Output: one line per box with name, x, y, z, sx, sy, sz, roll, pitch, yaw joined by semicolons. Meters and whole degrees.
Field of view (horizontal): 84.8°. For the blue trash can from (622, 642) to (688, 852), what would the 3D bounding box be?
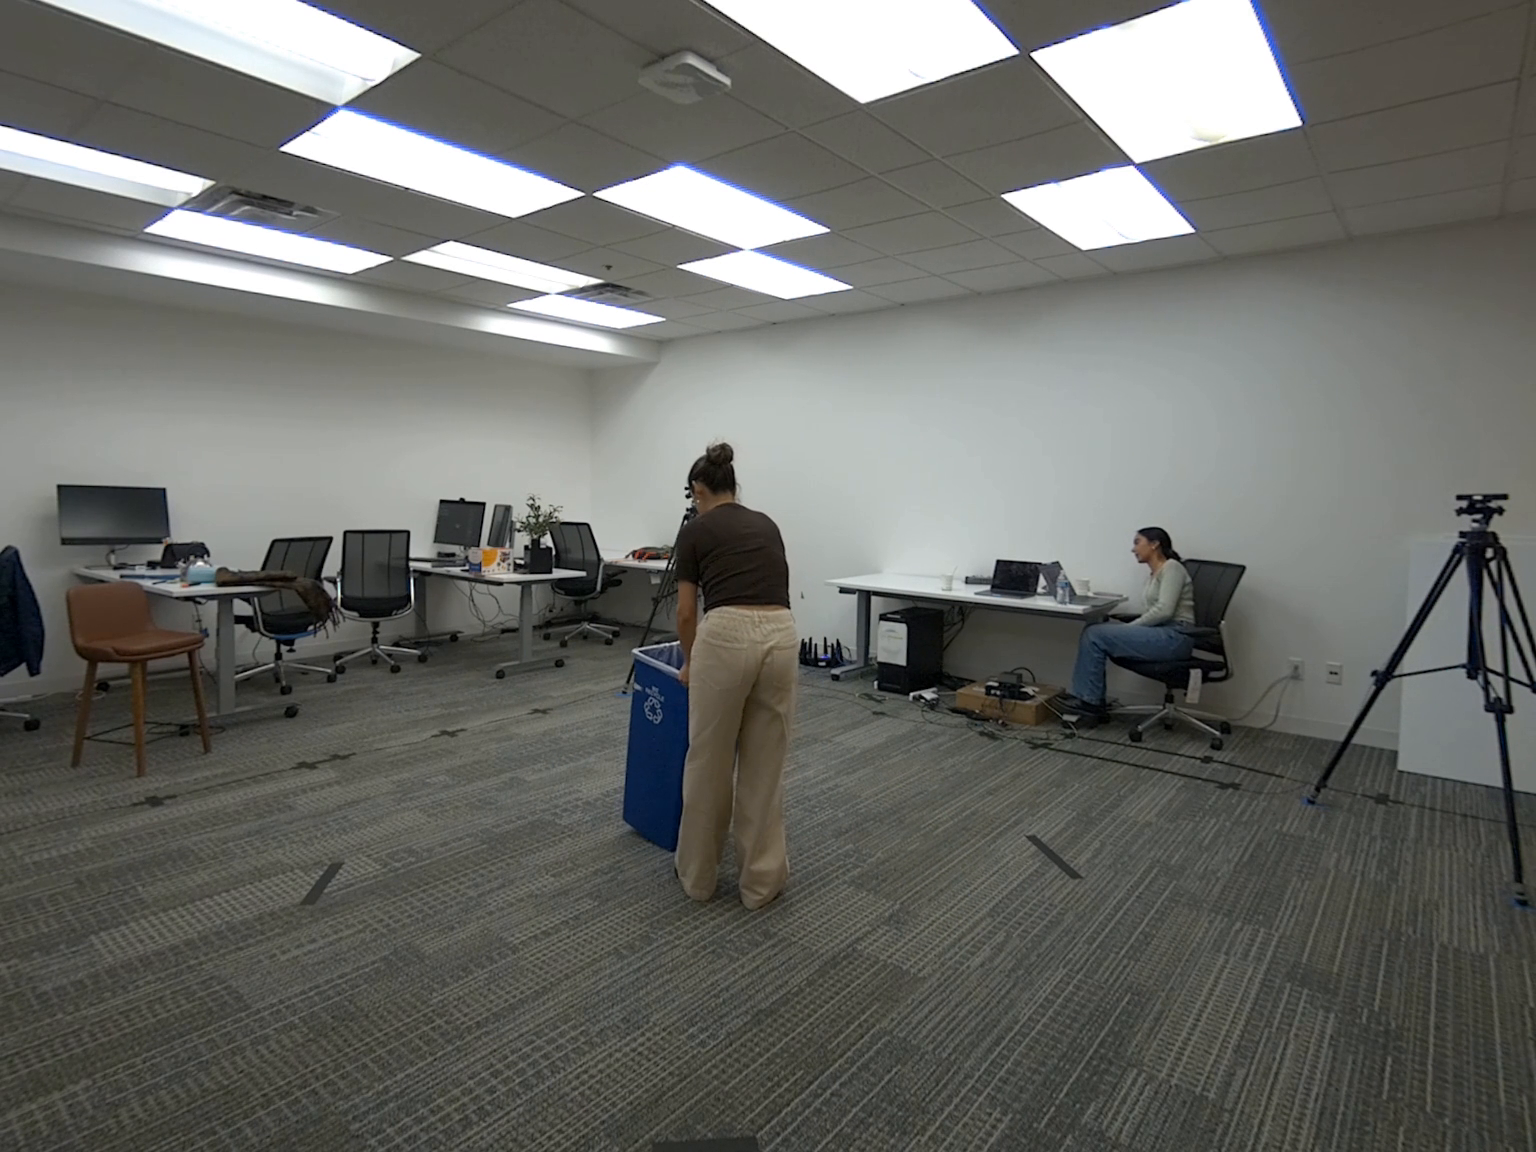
blue trash can;-0.339;0.660;3.378;0.388;0.708;0.367;16;13;39
